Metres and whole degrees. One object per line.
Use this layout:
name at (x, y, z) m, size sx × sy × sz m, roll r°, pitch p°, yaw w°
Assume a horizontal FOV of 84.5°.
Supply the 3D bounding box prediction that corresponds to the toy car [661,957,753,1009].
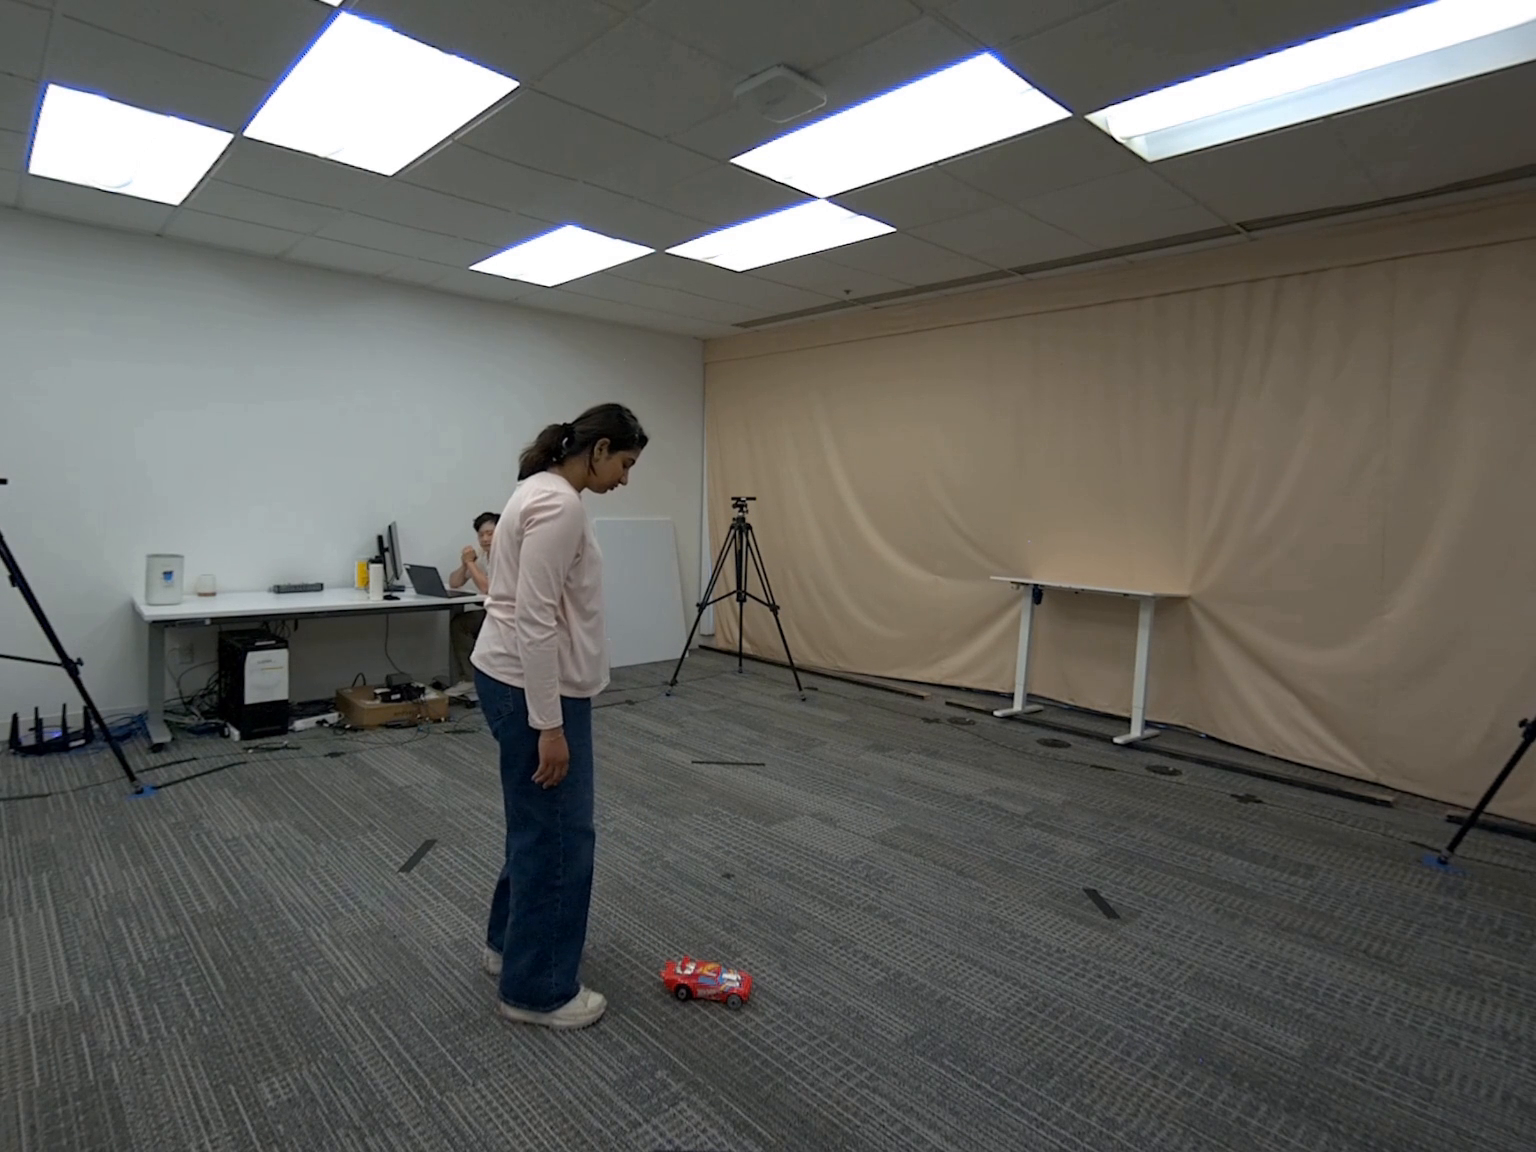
toy car at (-0.183, 1.145, 2.354) m, size 0.257 × 0.083 × 0.129 m, roll 15°, pitch 4°, yaw 9°
